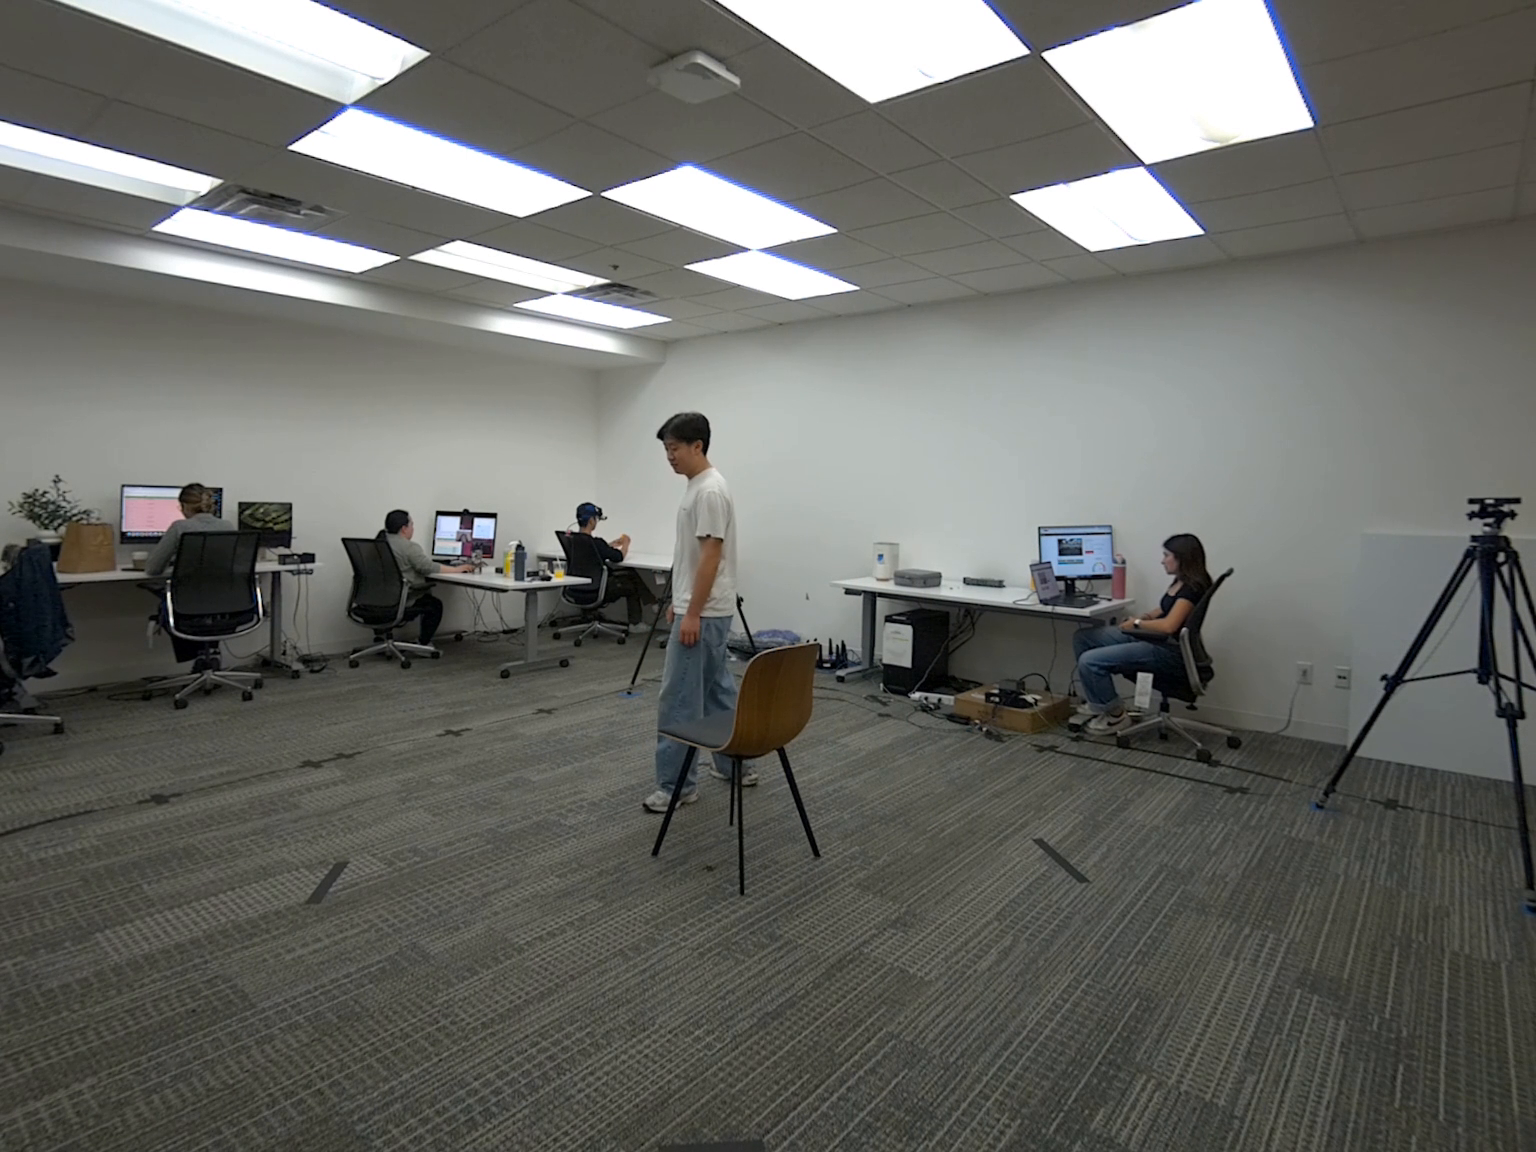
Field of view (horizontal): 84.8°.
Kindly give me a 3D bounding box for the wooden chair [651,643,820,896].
[{"bbox_3d":[-0.121,0.631,3.196,0.542,0.873,0.463,10,8,40],"label":"wooden chair"}]
